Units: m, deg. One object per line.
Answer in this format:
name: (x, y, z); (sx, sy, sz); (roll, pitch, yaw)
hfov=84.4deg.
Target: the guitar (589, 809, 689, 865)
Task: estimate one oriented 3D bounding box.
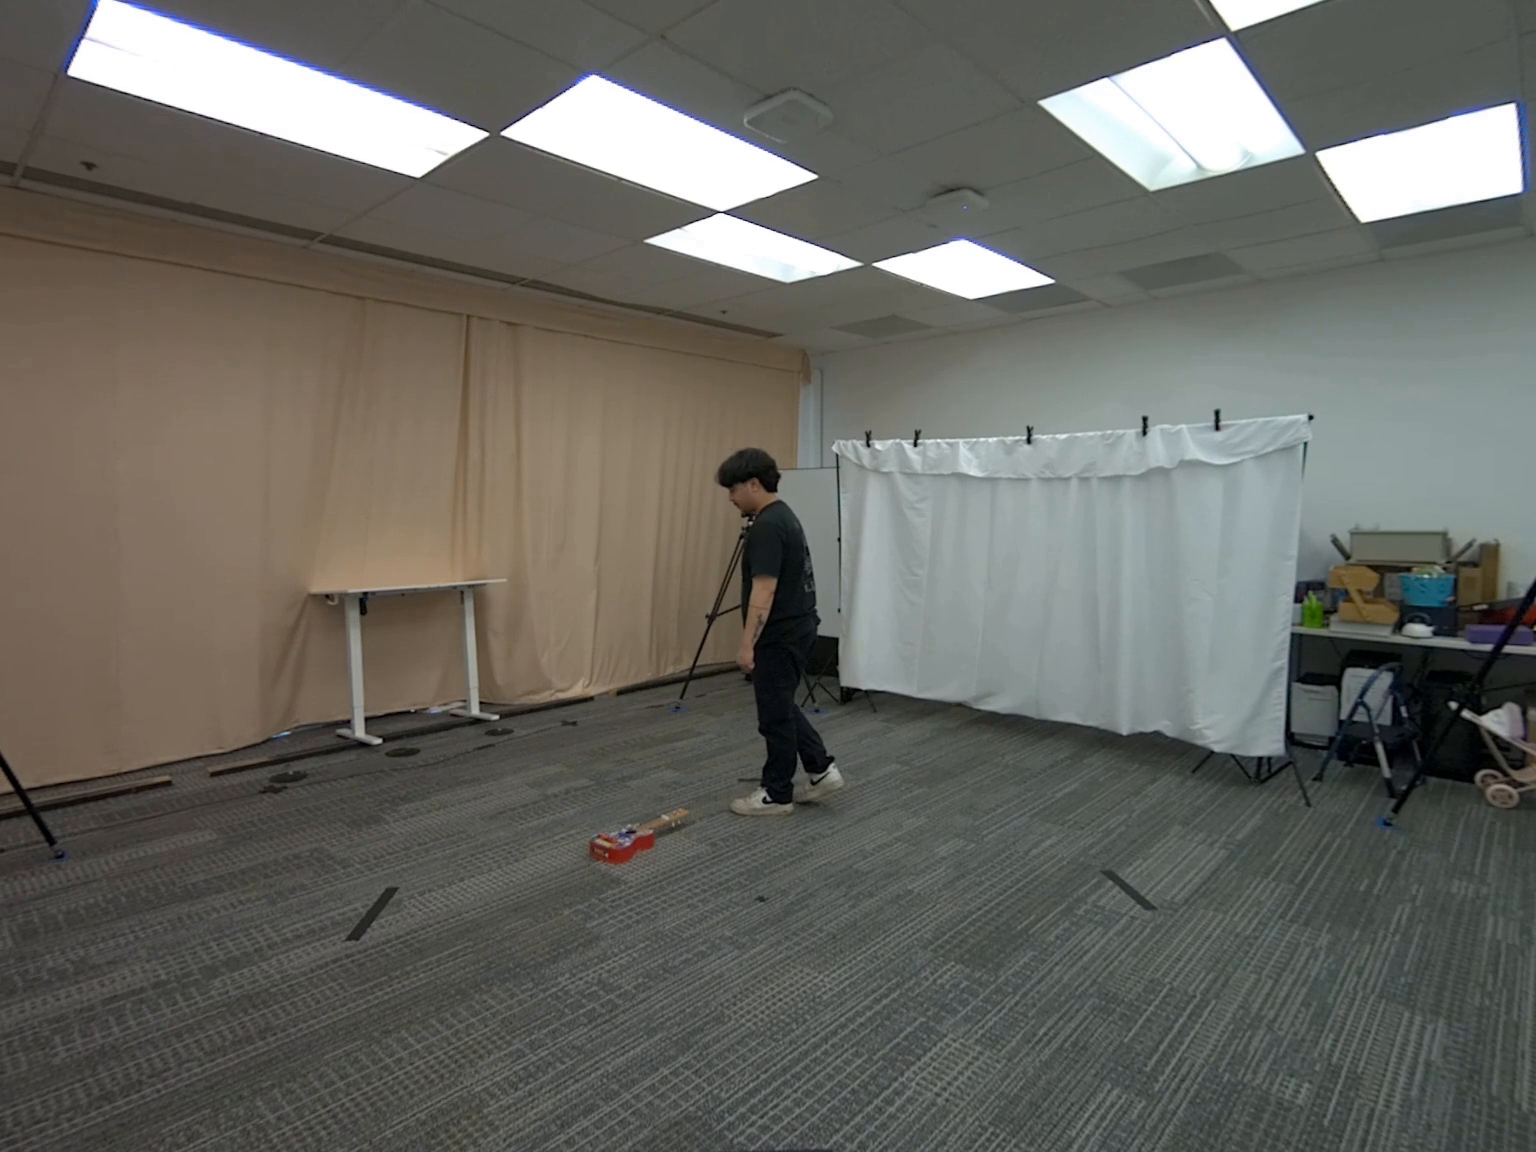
guitar: (-0.498, 1.073, 3.487); (0.483, 0.070, 0.199); (-6, 6, -40)
